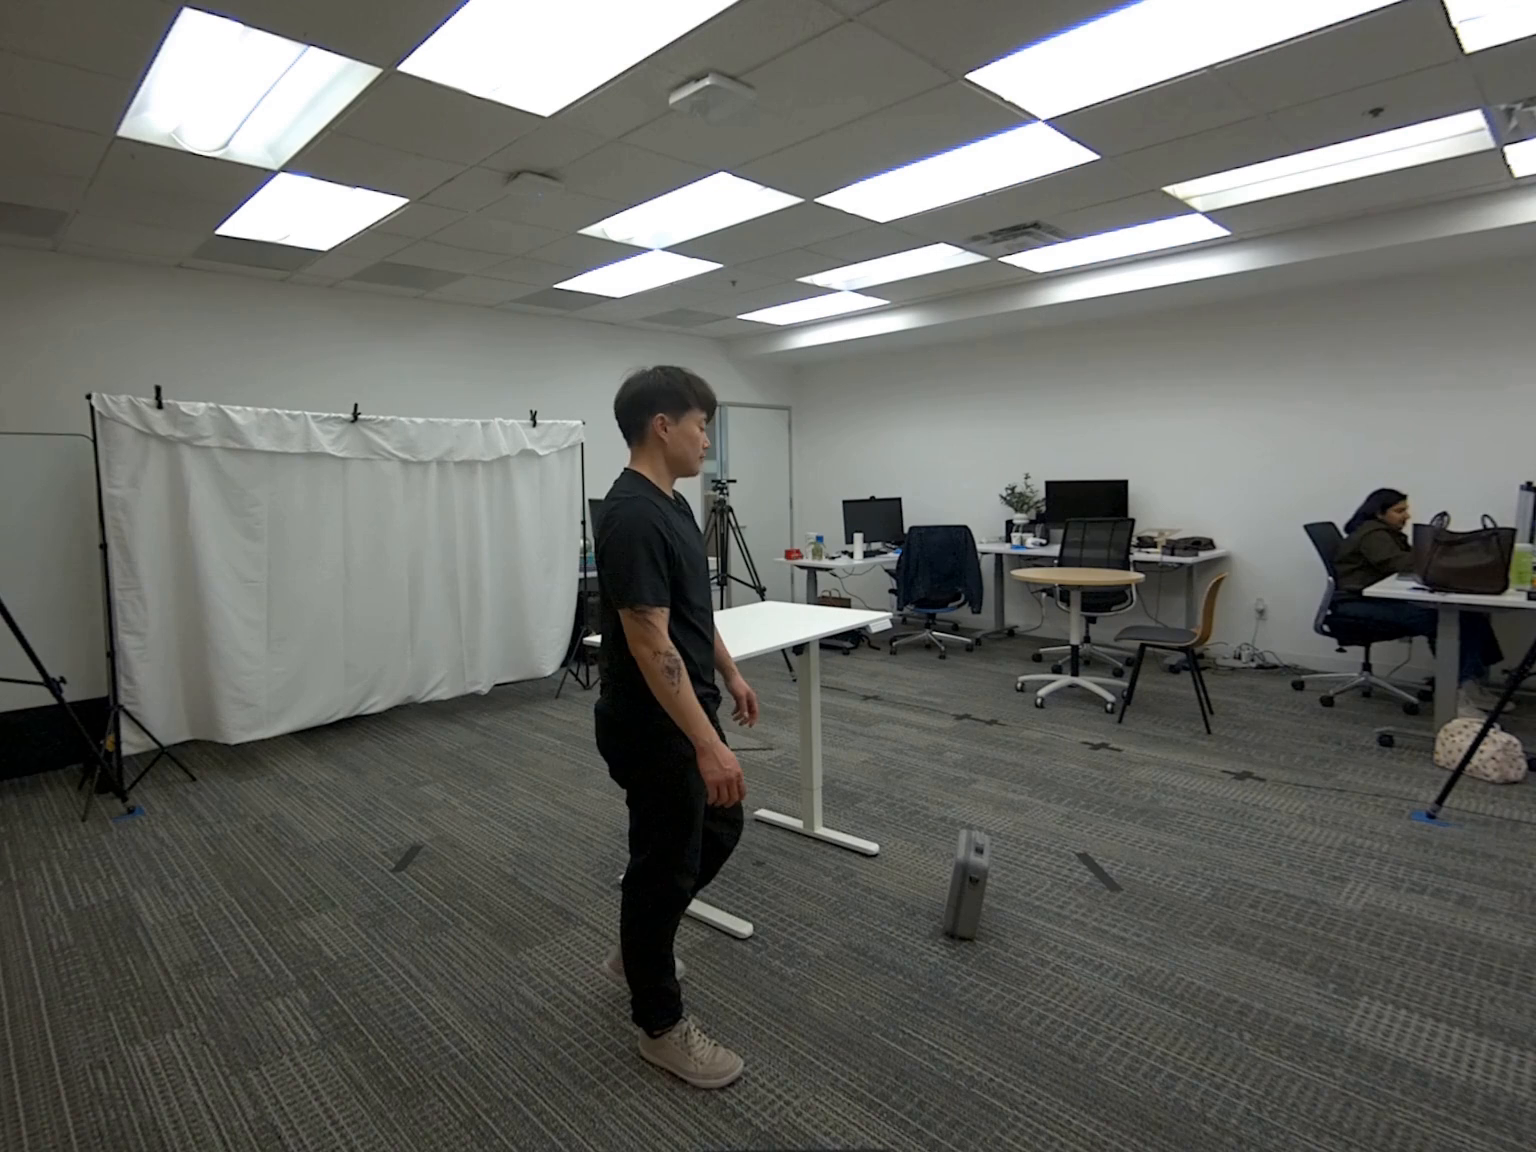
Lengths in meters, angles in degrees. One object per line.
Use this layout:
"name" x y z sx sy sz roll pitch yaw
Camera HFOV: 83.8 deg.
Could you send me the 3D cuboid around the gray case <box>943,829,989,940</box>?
"gray case" 0.622 0.948 2.667 0.106 0.259 0.253 10 9 16
